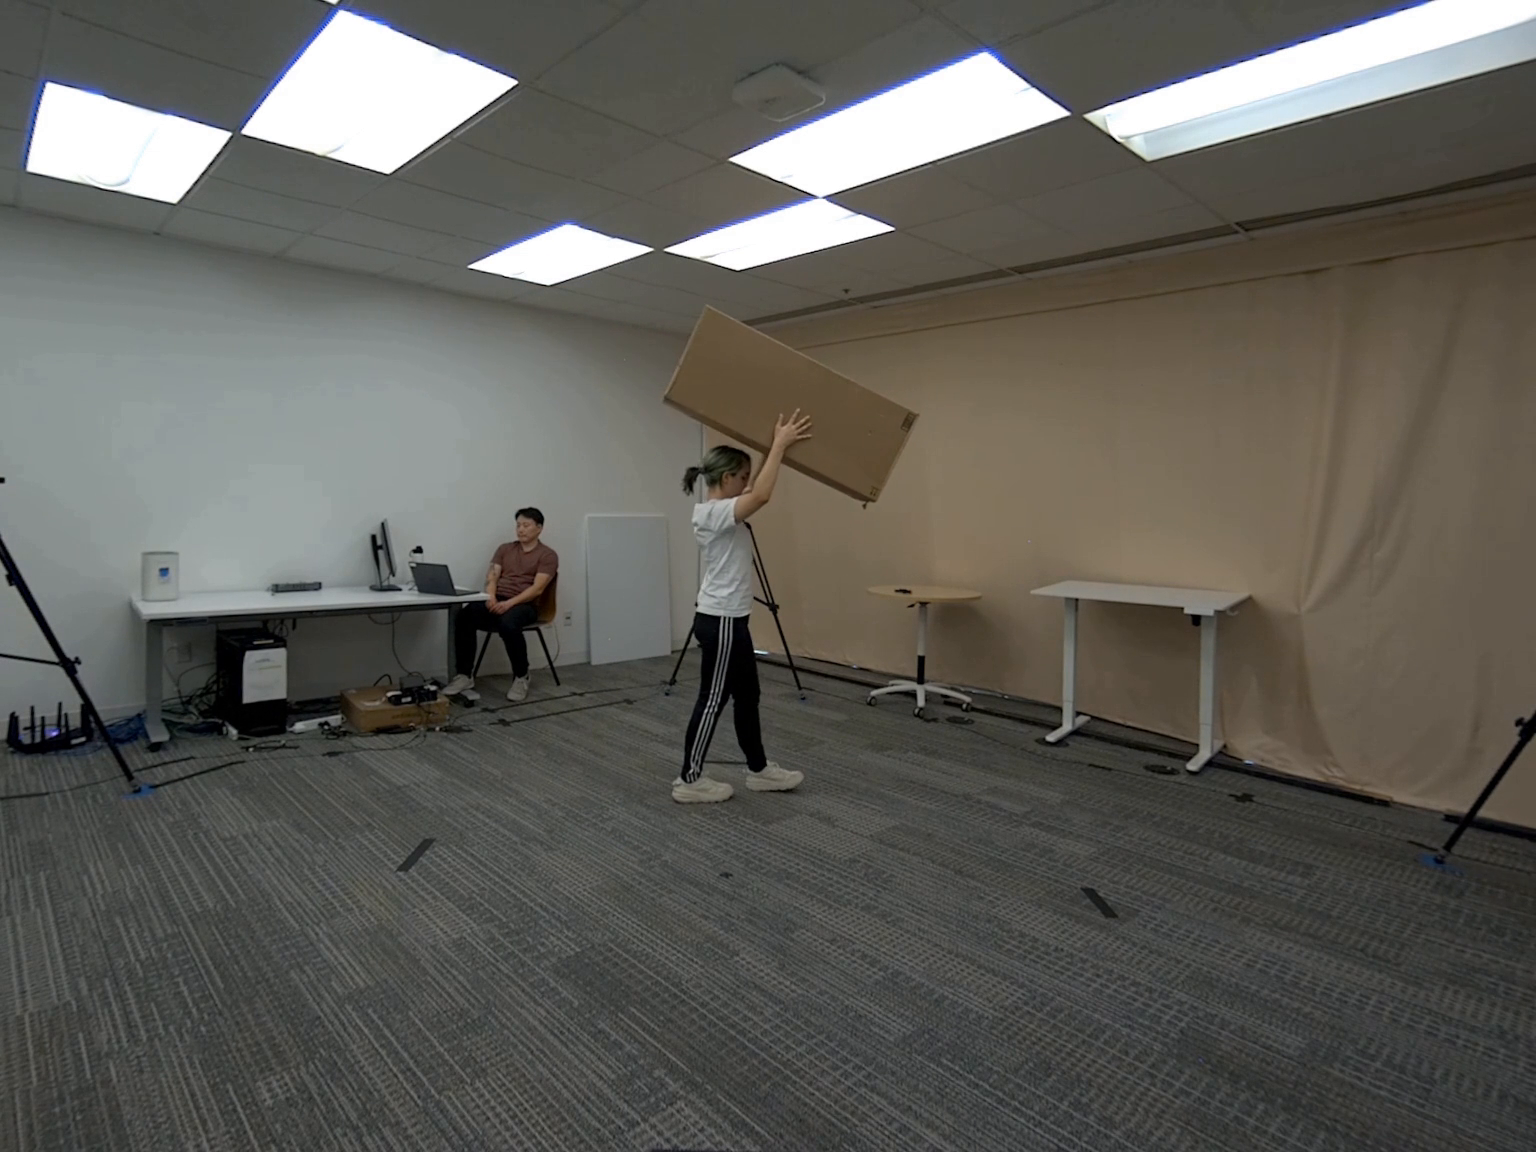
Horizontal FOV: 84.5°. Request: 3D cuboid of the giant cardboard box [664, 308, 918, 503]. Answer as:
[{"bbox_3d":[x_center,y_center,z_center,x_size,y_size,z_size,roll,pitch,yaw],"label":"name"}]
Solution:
[{"bbox_3d":[0.070,-0.764,3.844,1.019,0.446,0.589,26,4,-8],"label":"giant cardboard box"}]
